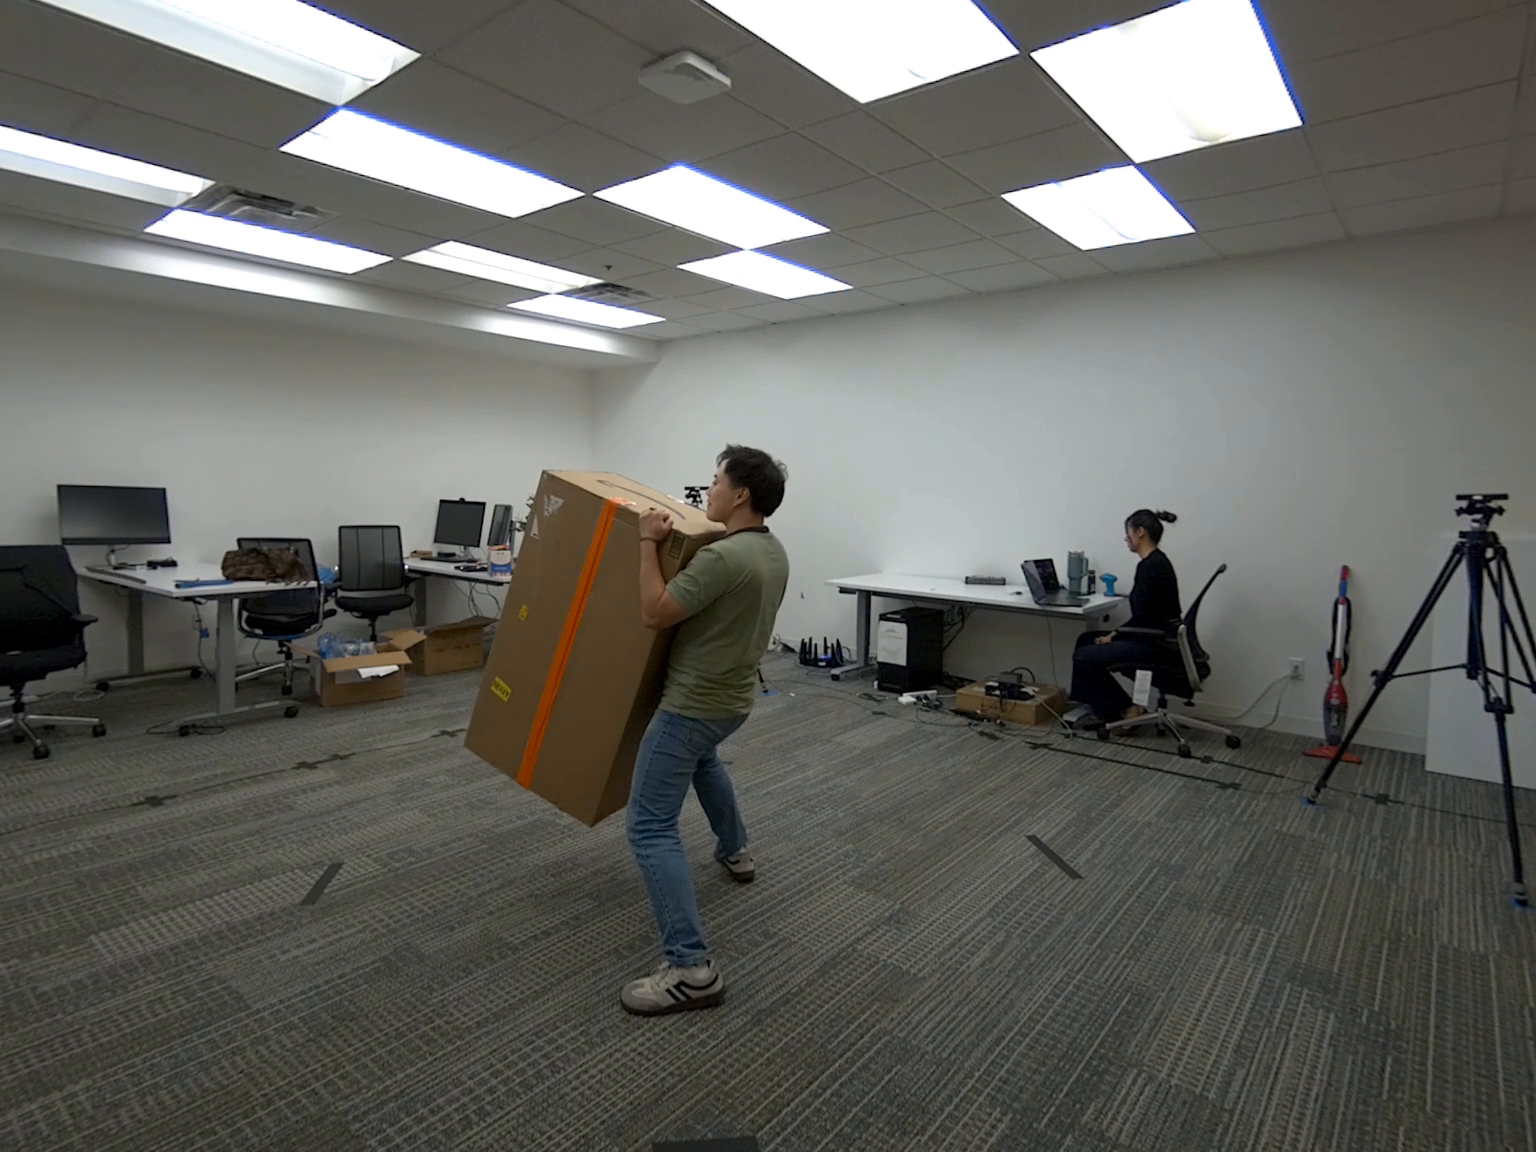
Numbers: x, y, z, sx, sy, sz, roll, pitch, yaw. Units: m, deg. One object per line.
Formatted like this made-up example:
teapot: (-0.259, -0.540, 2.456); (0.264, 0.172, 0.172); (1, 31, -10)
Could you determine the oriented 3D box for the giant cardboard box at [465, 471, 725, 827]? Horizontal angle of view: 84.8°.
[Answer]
giant cardboard box: (-0.588, 0.216, 2.933); (0.594, 1.019, 0.417); (23, 12, 22)
